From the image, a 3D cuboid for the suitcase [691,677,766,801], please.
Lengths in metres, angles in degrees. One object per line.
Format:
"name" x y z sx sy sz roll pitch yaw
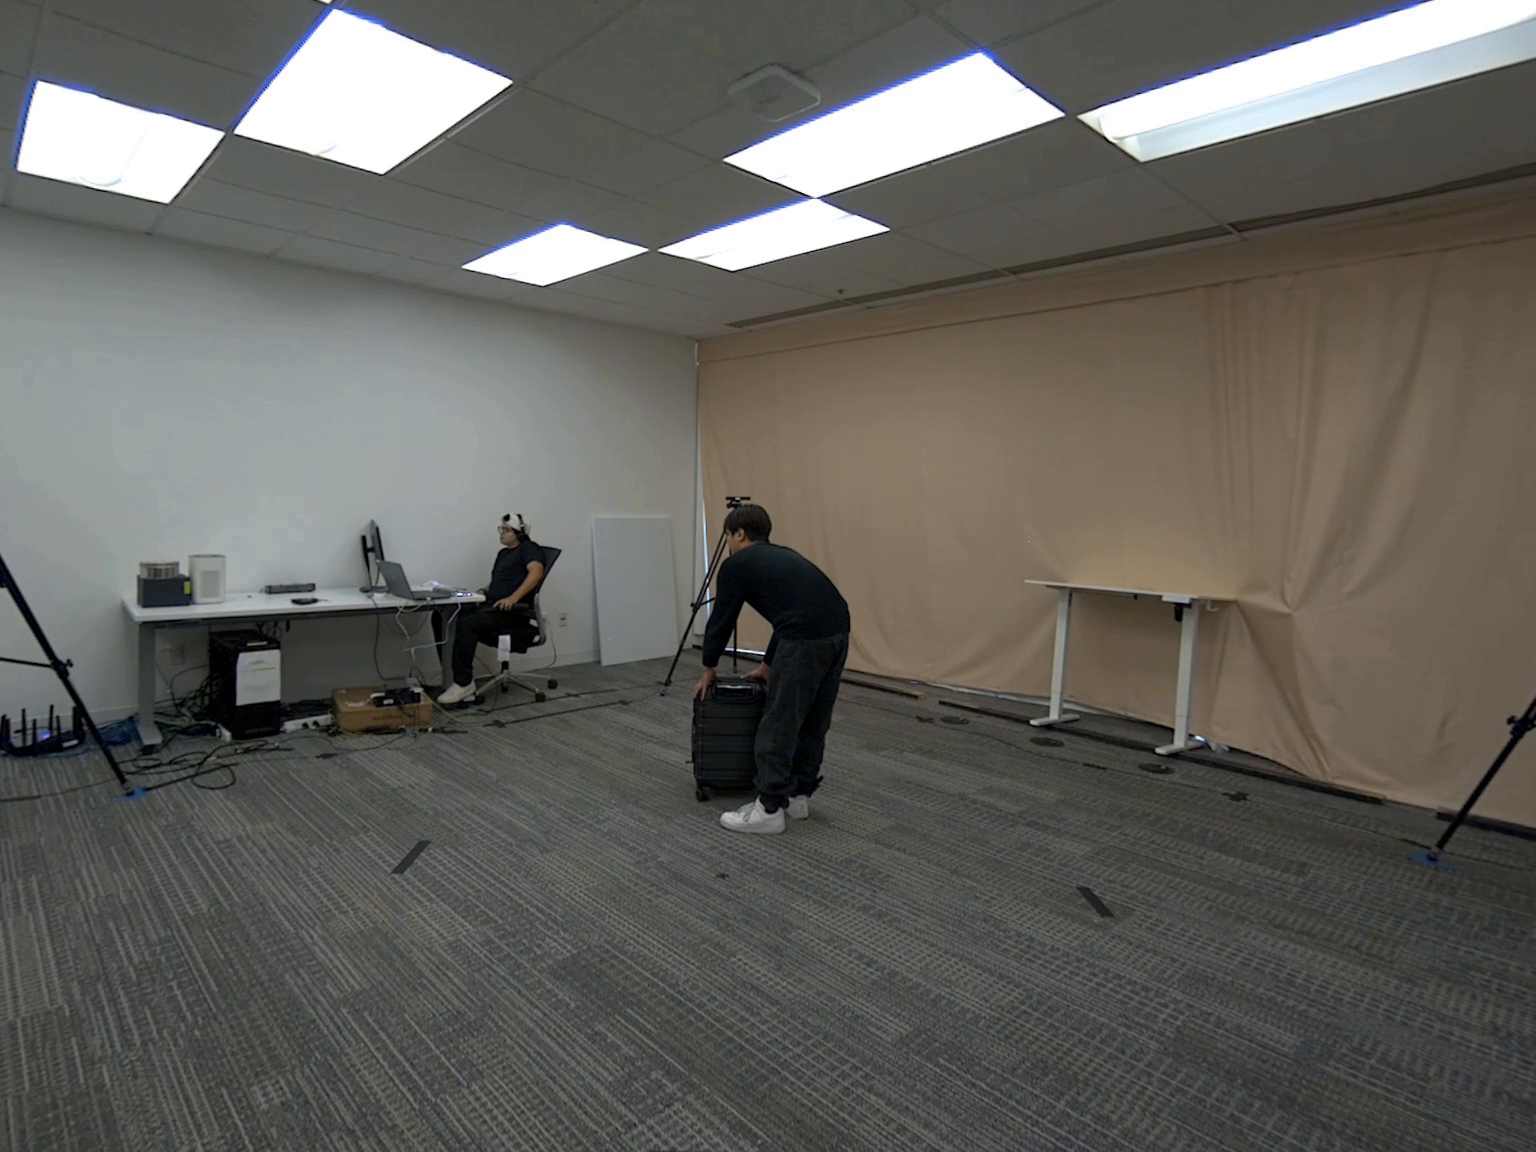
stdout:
"suitcase" -0.186 0.751 4.014 0.375 0.548 0.249 2 2 -2
